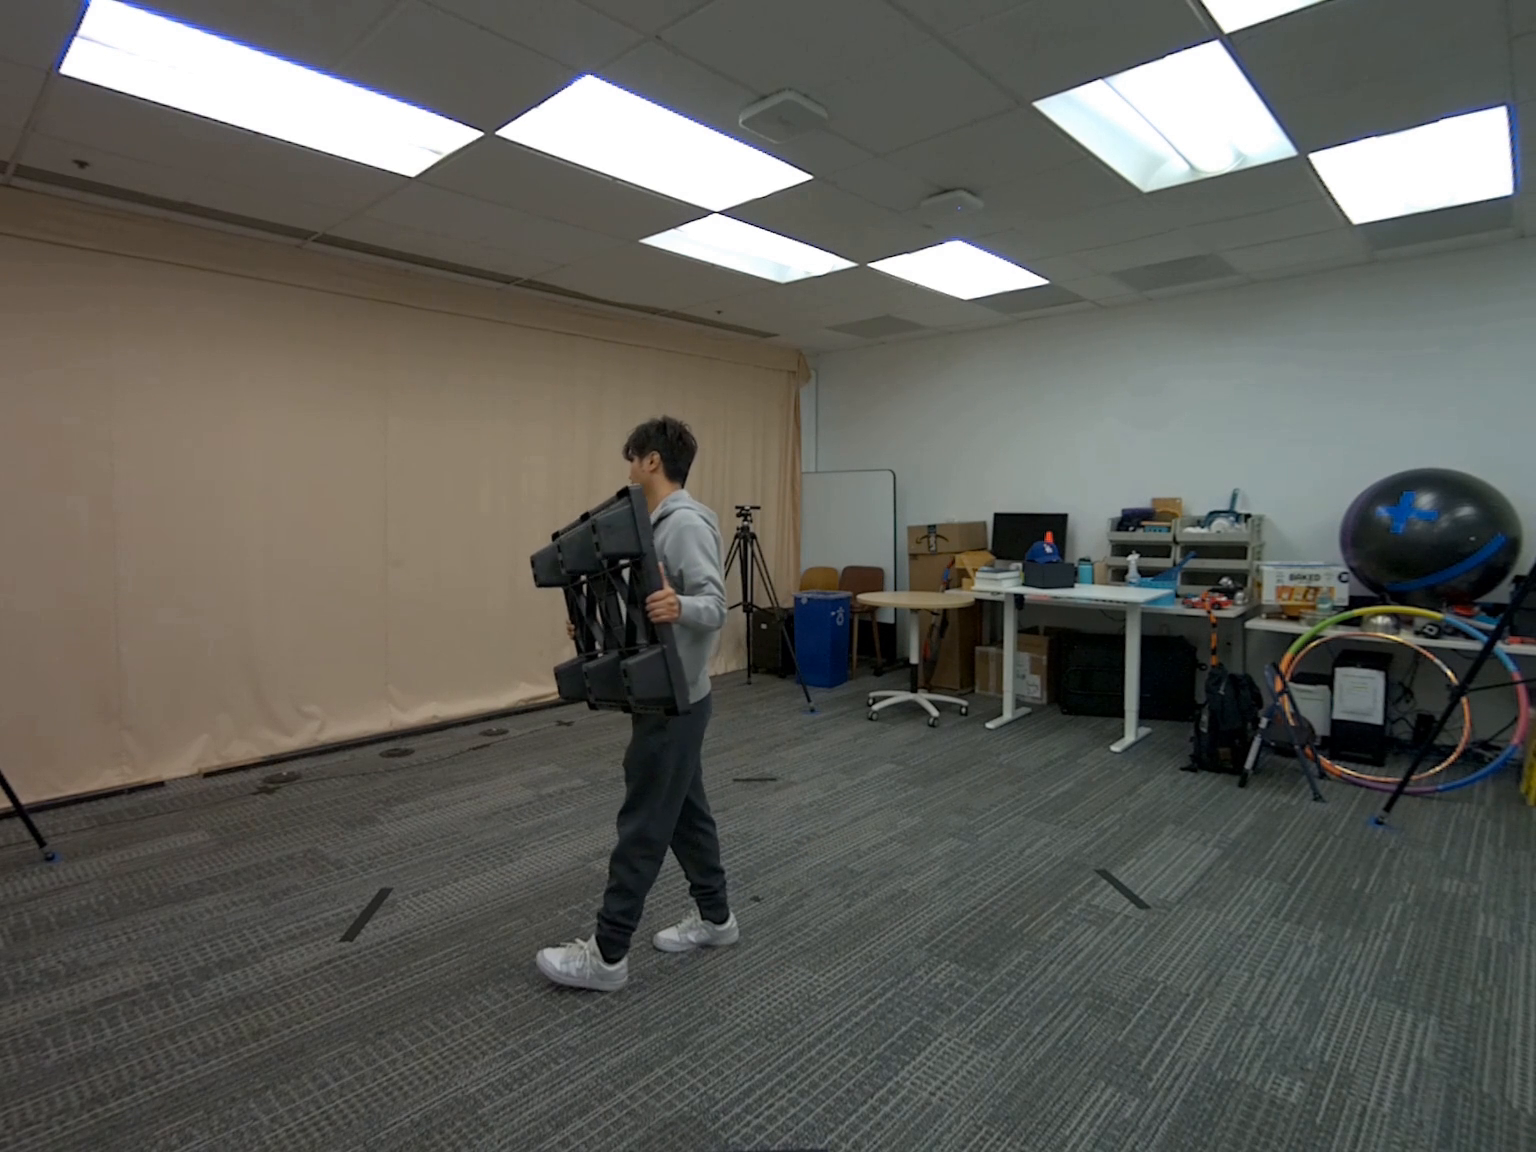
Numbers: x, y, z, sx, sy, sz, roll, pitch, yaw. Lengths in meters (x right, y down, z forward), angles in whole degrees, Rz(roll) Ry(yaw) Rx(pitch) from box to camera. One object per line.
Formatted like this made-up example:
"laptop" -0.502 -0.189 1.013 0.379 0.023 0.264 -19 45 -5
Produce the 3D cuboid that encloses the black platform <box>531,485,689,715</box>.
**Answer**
"black platform" -0.501 0.117 2.440 0.140 0.607 0.822 -10 -3 -28
